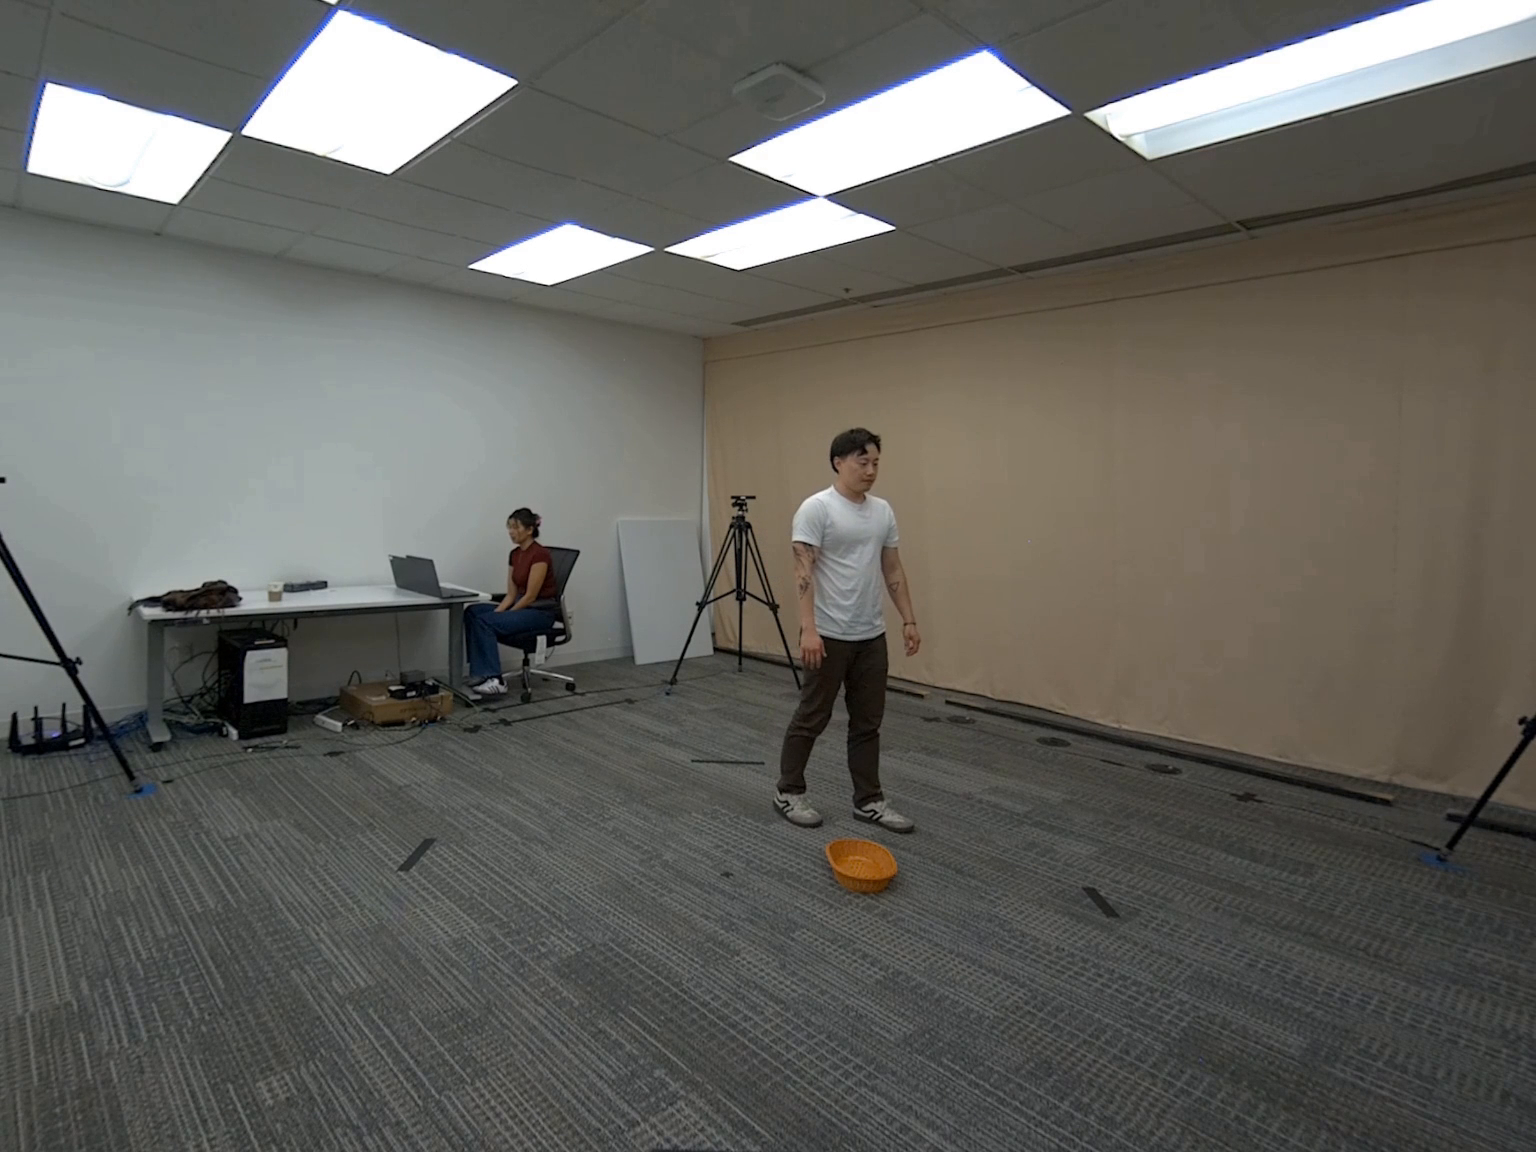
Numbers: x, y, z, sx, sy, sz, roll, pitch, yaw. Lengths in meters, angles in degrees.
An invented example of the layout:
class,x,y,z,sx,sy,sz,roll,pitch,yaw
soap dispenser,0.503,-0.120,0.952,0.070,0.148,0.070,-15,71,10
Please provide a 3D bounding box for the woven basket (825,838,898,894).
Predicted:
class,x,y,z,sx,sy,sz,roll,pitch,yaw
woven basket,0.334,1.070,3.117,0.252,0.073,0.352,1,5,-4
